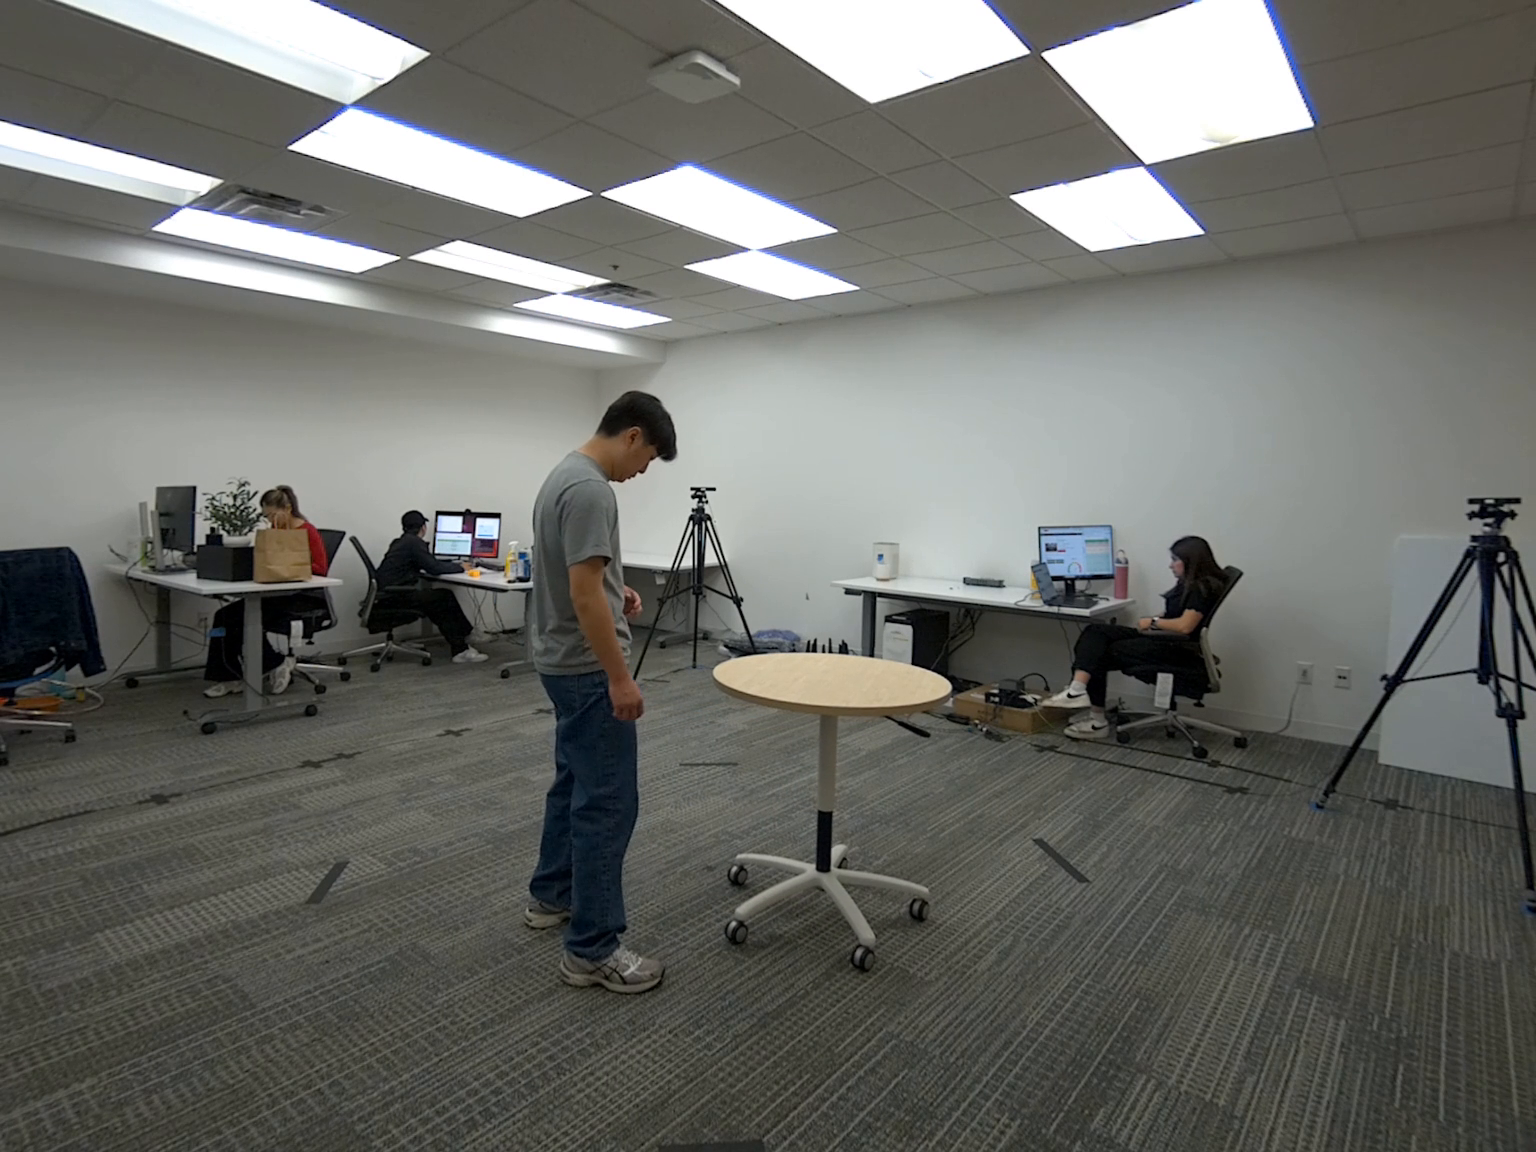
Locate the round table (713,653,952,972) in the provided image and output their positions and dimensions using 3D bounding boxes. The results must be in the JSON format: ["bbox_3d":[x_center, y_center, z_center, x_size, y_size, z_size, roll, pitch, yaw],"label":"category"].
[{"bbox_3d":[0.174,0.718,2.780,0.763,0.791,0.768,2,4,-2],"label":"round table"}]
